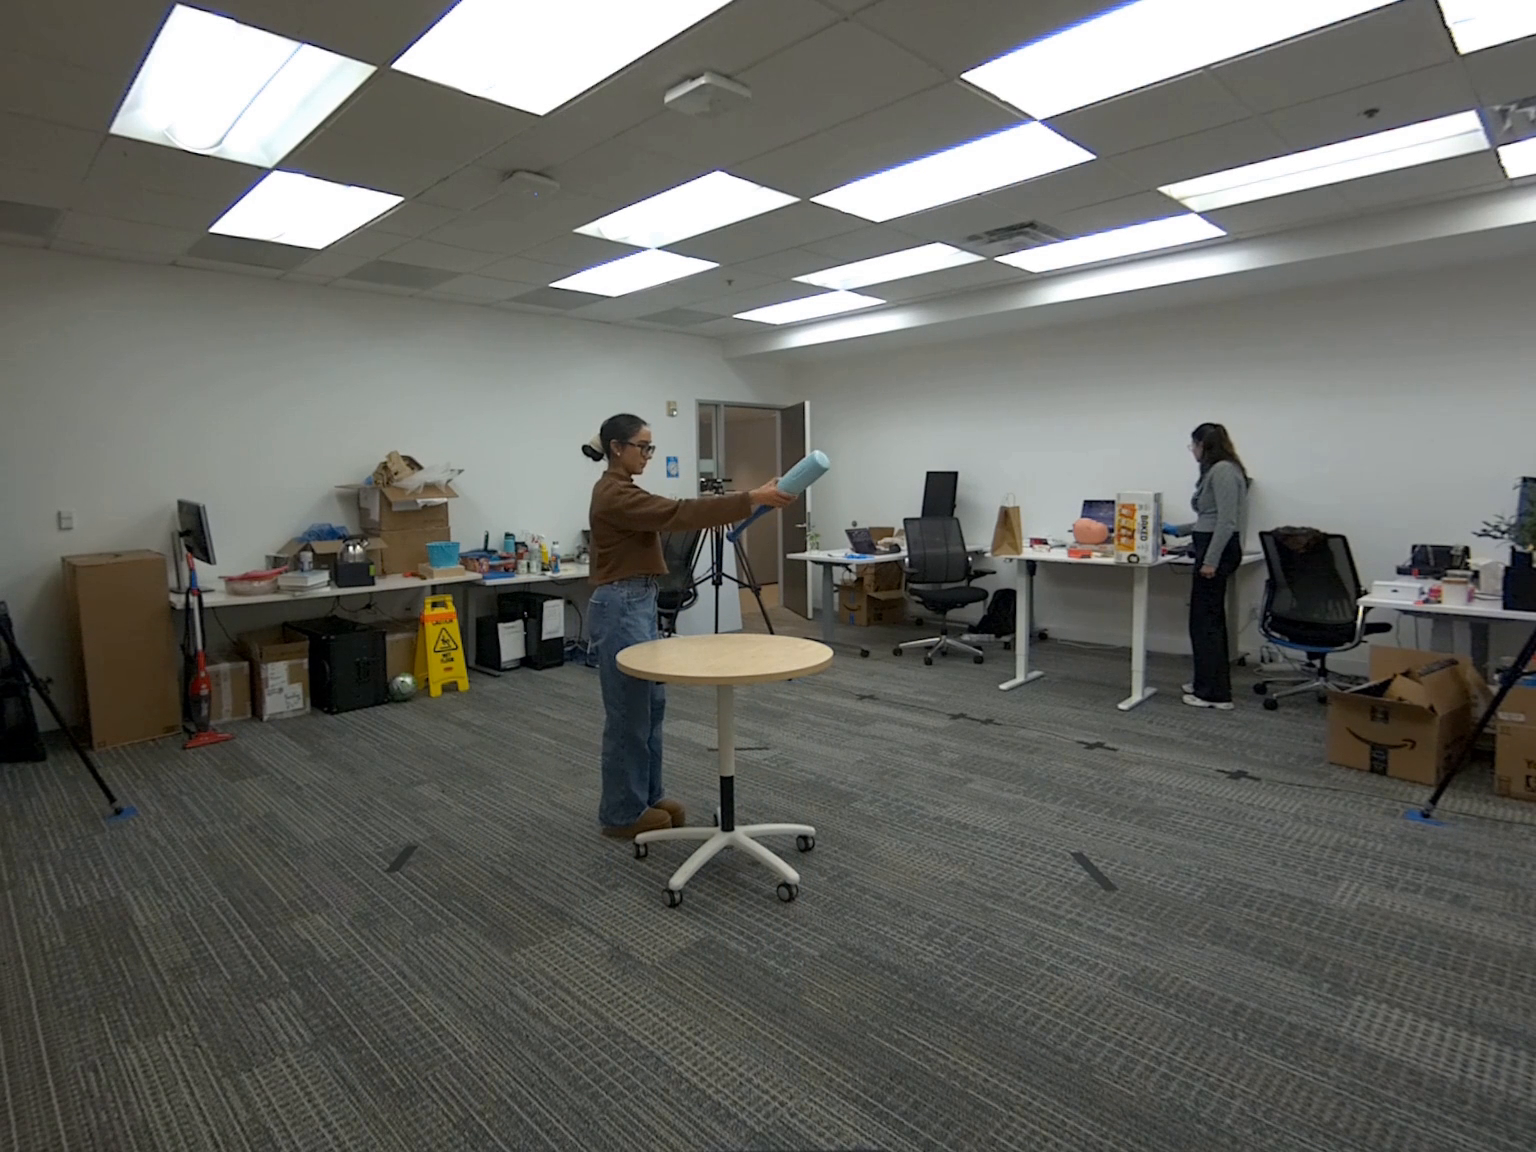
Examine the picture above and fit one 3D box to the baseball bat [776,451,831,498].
[{"bbox_3d":[0.025,-0.284,3.168,0.087,0.091,0.546,-6,-24,-49],"label":"baseball bat"}]
